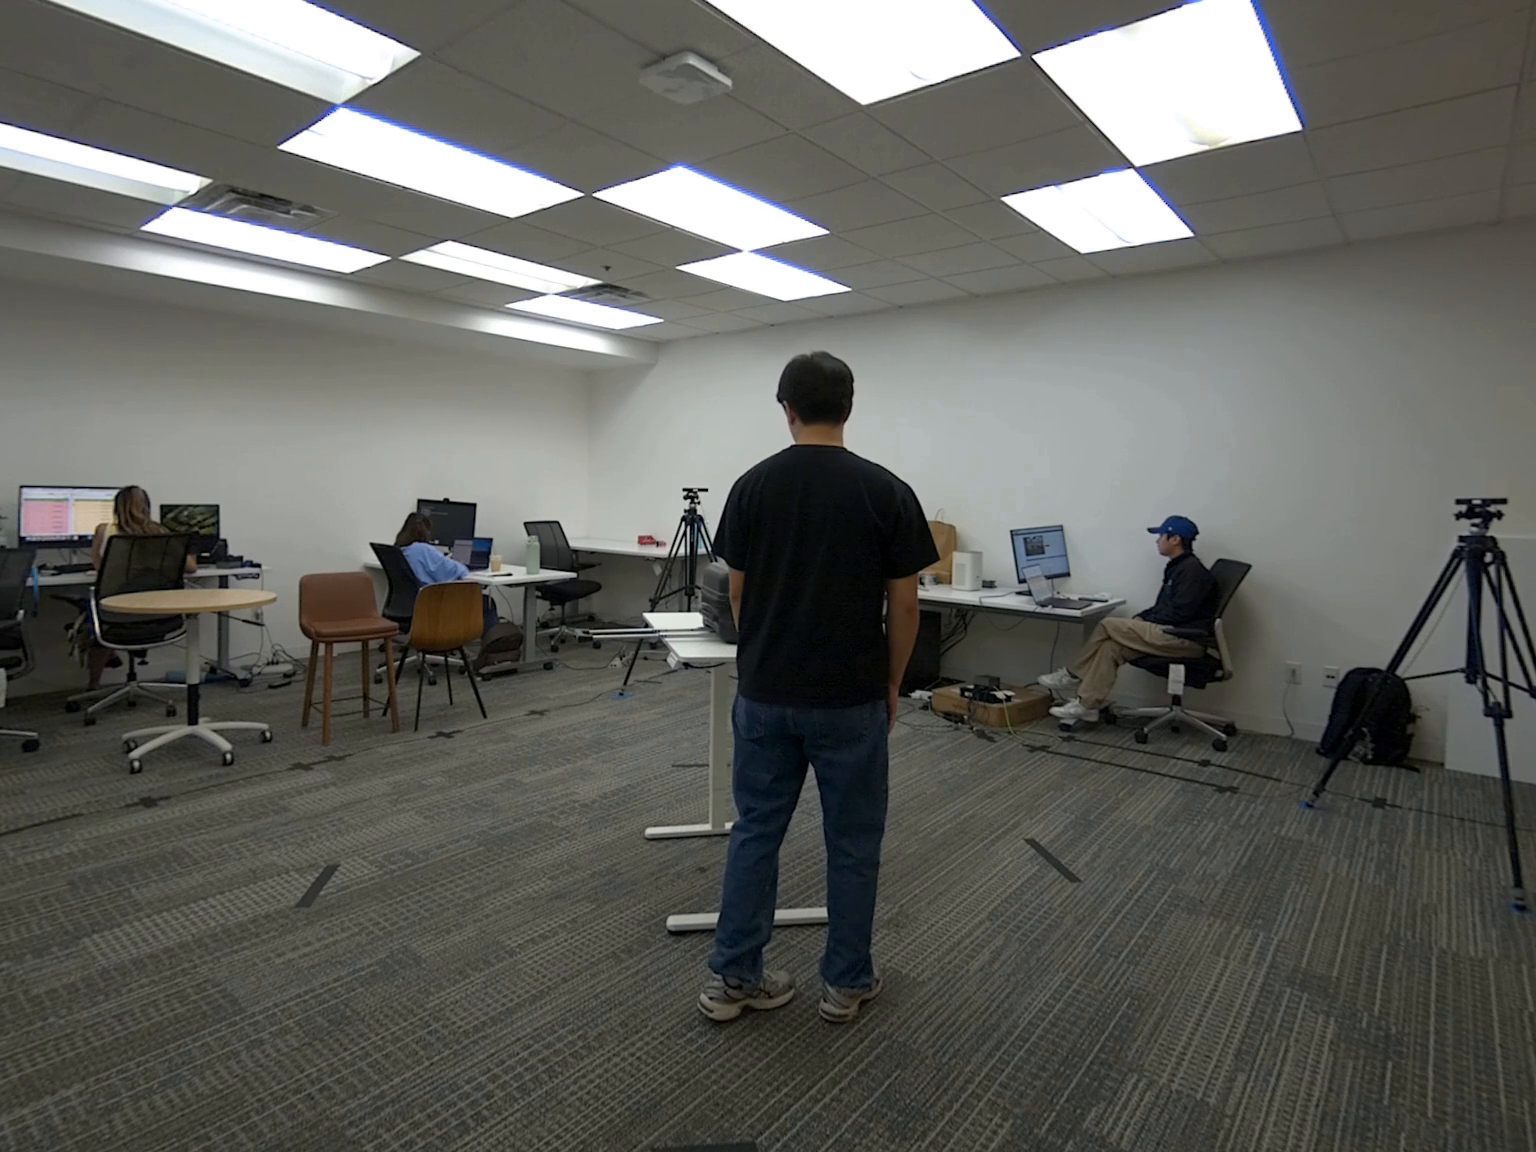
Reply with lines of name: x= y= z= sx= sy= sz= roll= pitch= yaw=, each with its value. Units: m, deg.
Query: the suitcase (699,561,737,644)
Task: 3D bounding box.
suitcase: x=-0.155 y=0.084 z=2.888 sx=0.964 sy=0.256 sz=0.391 roll=2 pitch=4 yaw=-14
